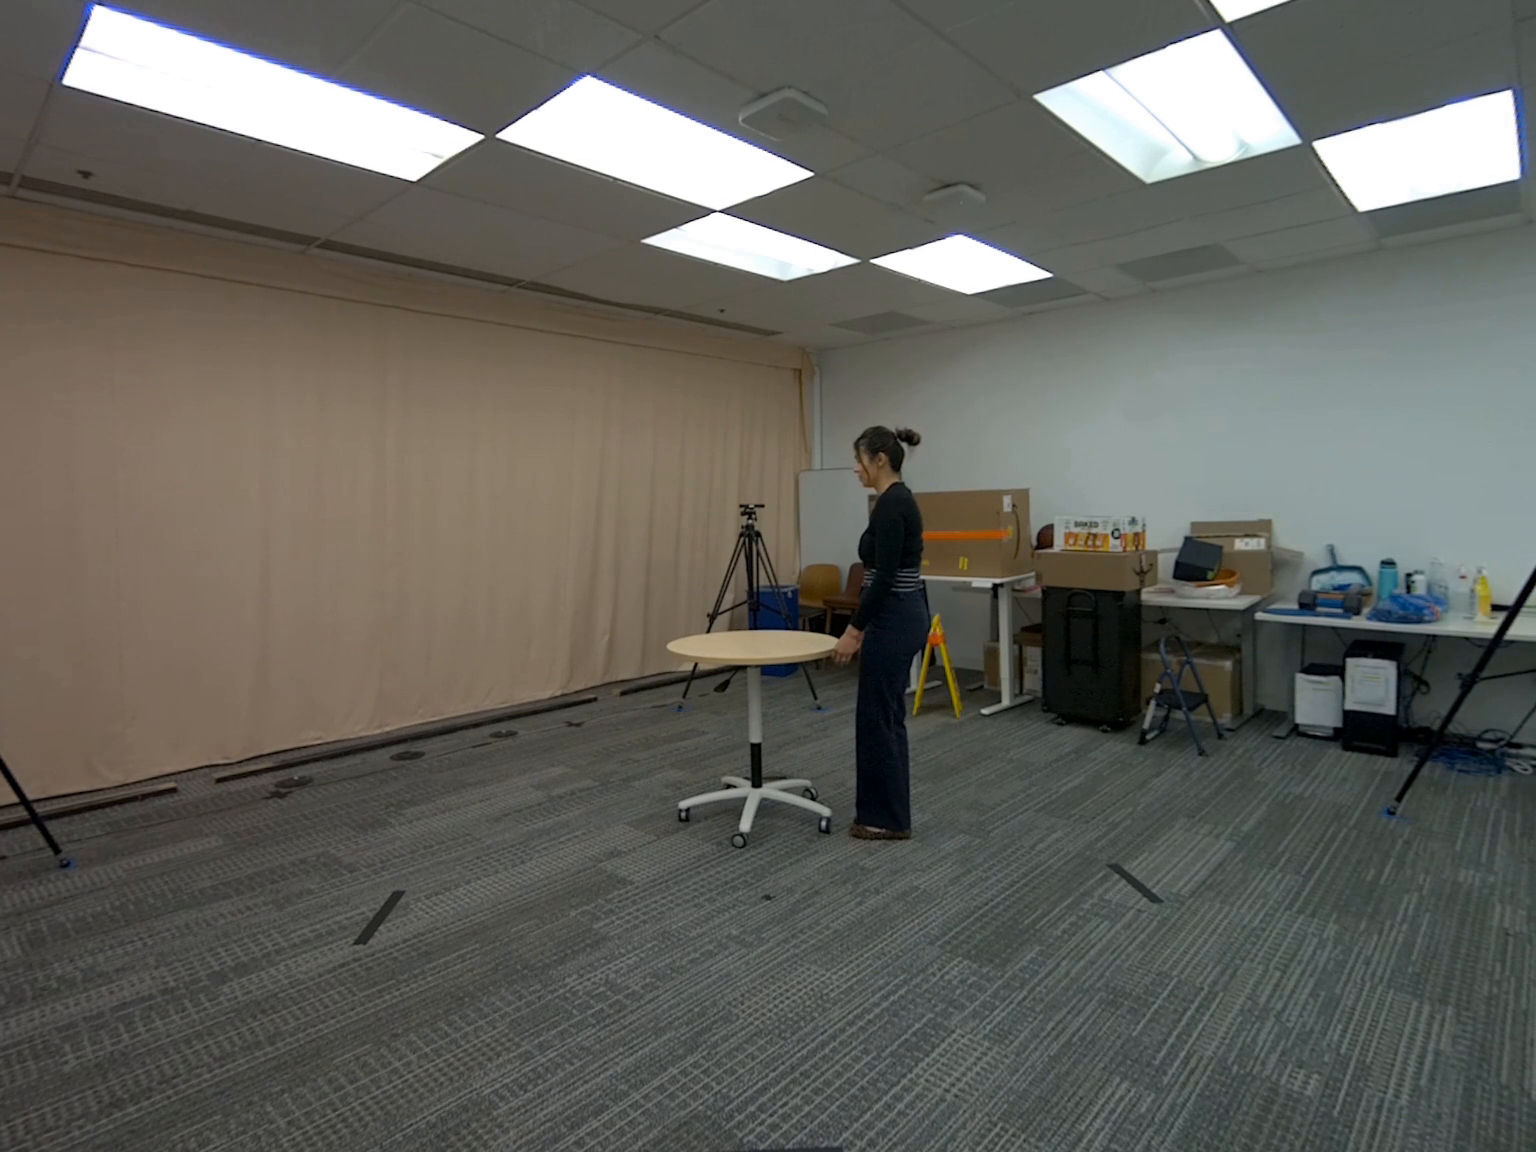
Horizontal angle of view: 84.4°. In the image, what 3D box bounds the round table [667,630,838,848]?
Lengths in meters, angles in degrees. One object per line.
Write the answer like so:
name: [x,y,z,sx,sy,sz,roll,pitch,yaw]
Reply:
round table: [-0.049,0.688,3.729,0.763,0.792,0.766,-1,3,-2]
